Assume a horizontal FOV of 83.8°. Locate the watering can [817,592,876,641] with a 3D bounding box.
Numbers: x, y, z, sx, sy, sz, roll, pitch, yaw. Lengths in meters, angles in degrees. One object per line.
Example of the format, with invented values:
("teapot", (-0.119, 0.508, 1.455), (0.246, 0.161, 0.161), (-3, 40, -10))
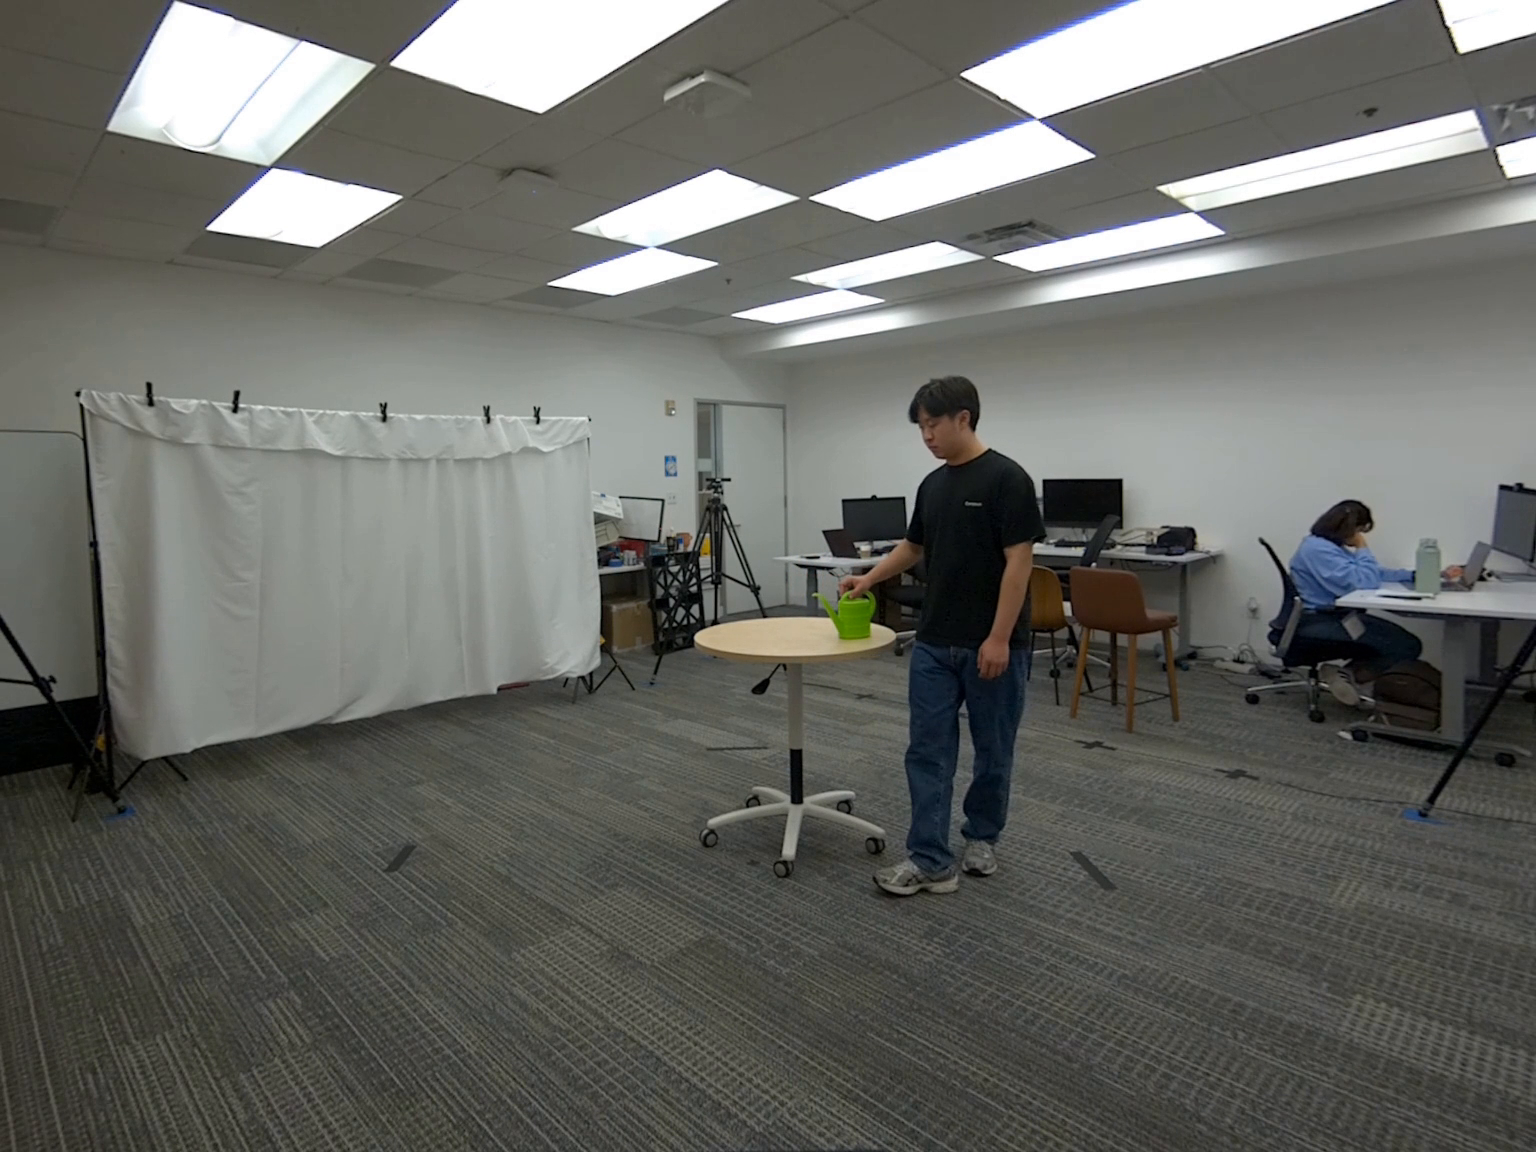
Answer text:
("watering can", (0.289, 0.145, 3.181), (0.274, 0.176, 0.099), (-2, 3, -15))
